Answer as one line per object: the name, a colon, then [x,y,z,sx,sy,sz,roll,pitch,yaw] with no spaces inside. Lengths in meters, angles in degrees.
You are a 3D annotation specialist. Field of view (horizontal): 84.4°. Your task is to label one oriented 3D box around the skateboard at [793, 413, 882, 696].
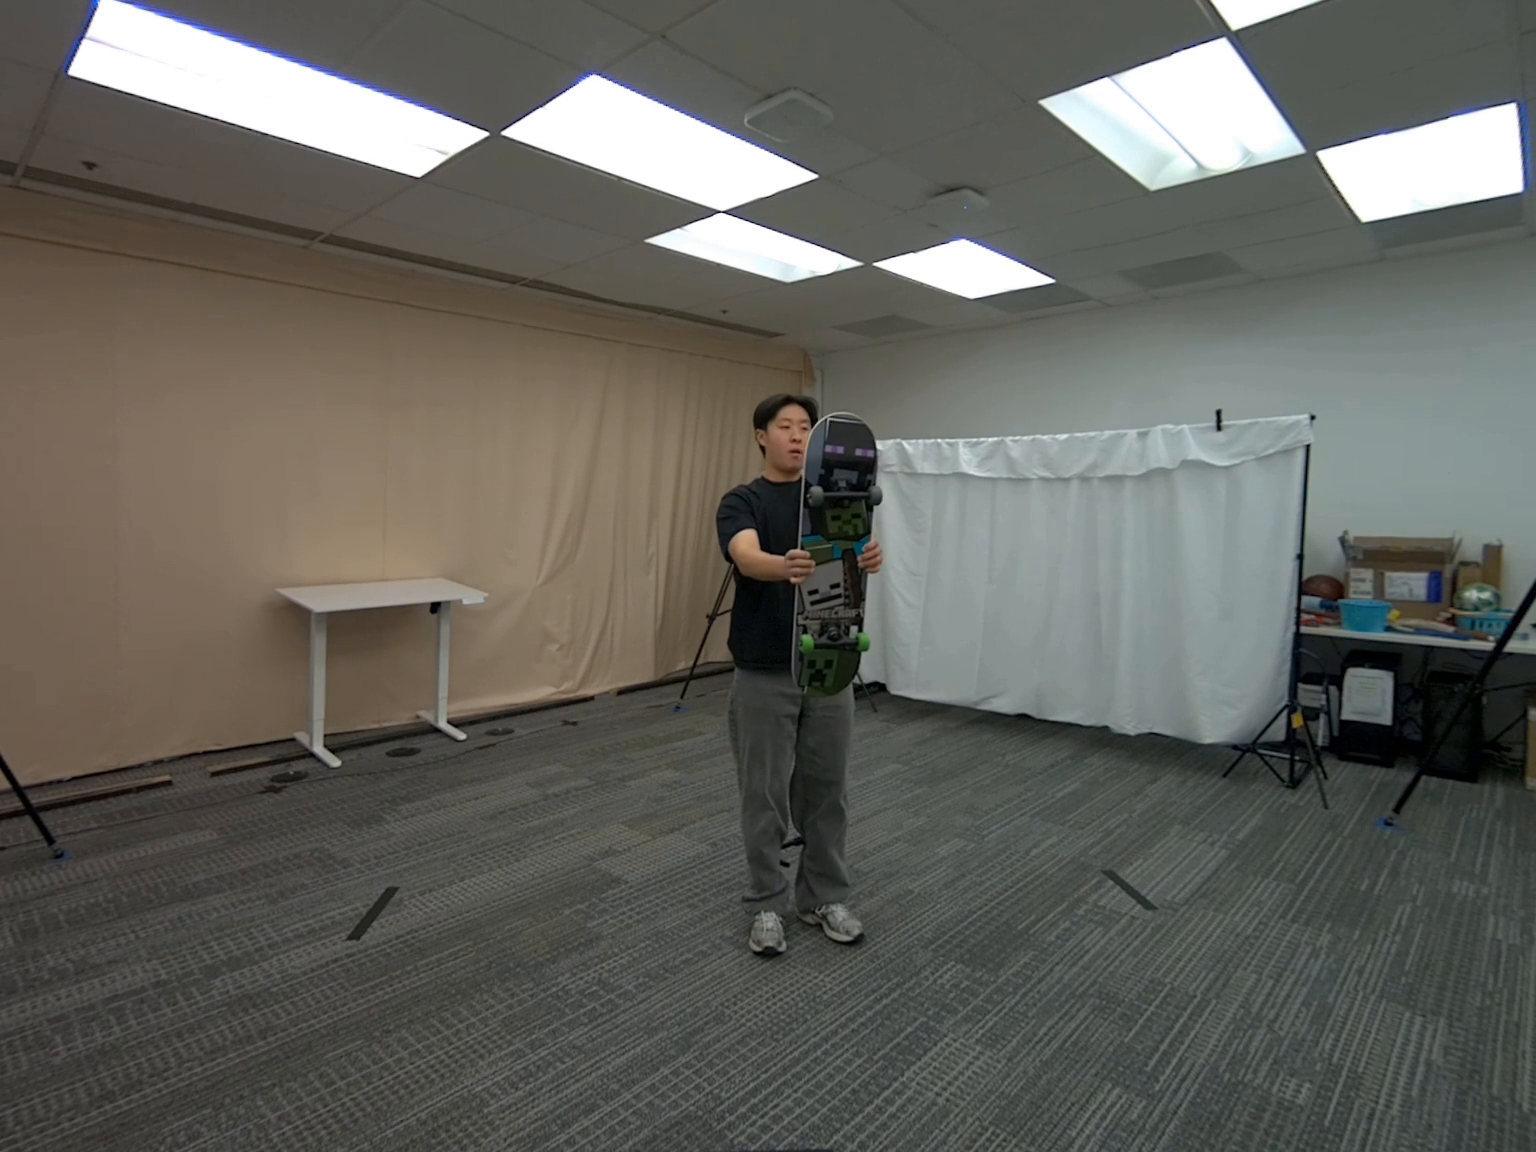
skateboard: [0.179,-0.018,2.197,0.191,0.777,0.112,-1,17,-10]
